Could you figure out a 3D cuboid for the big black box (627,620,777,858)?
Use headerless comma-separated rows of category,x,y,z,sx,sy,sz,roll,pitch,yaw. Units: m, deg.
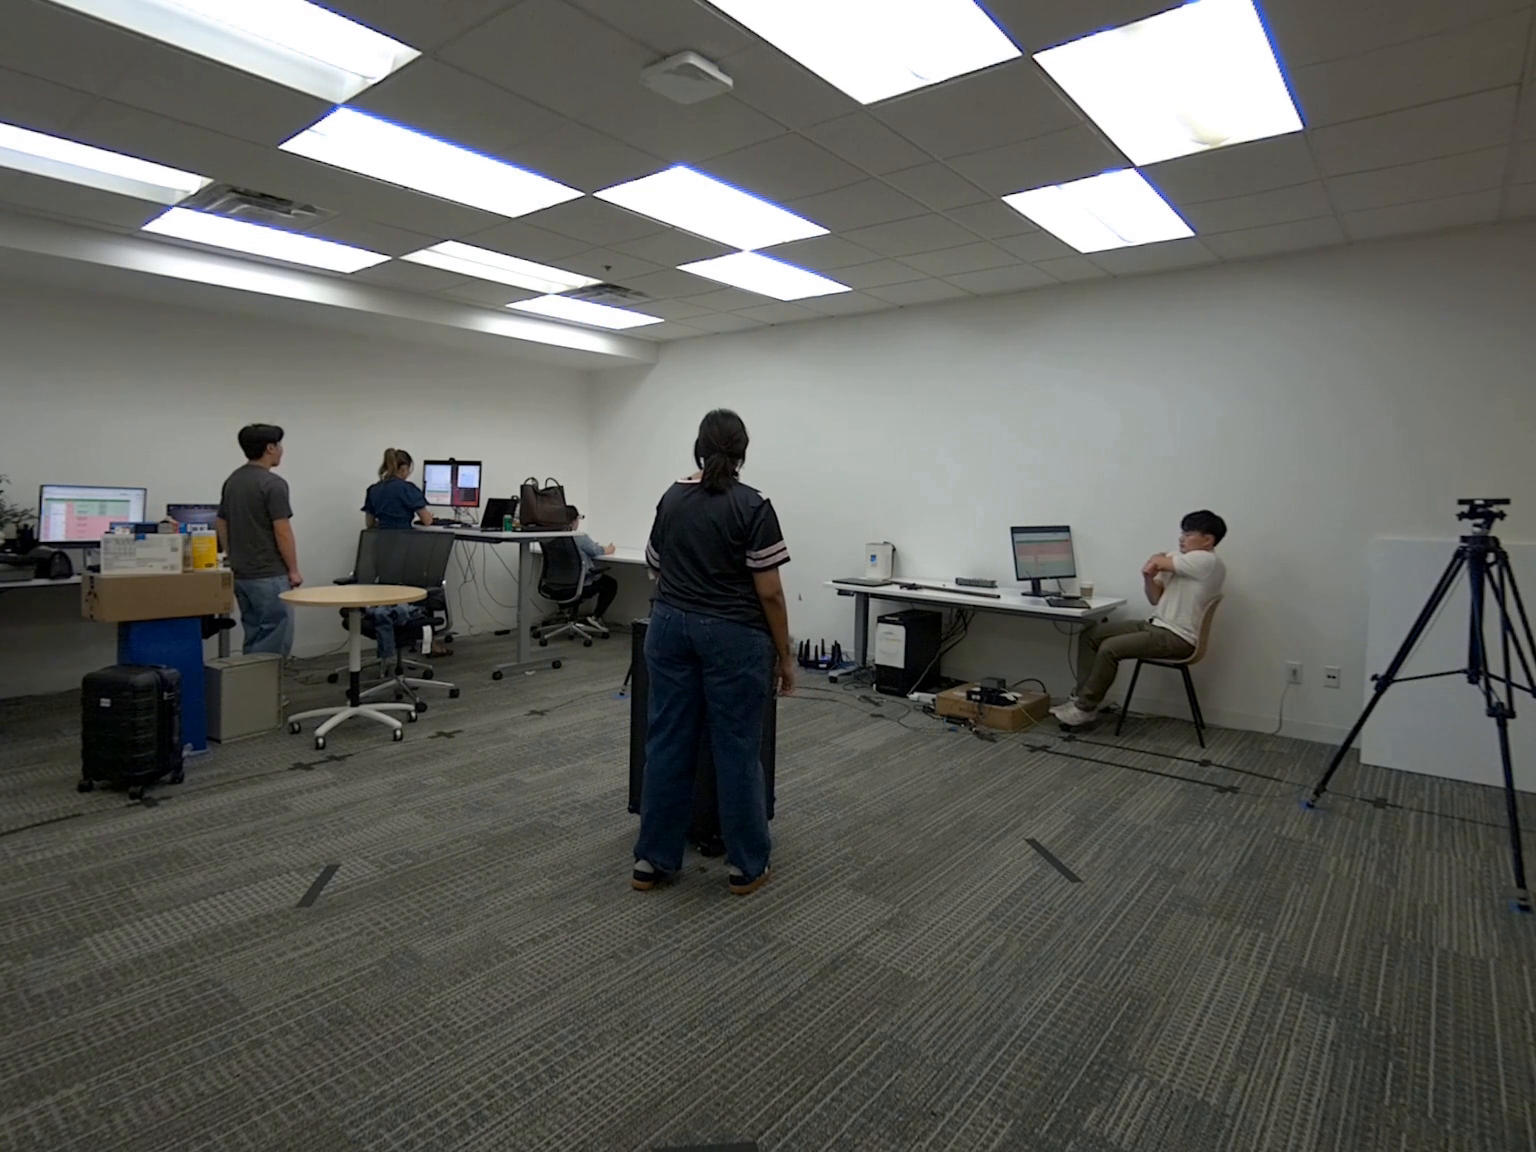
big black box,-0.281,0.613,3.439,0.541,0.866,0.374,4,4,38
